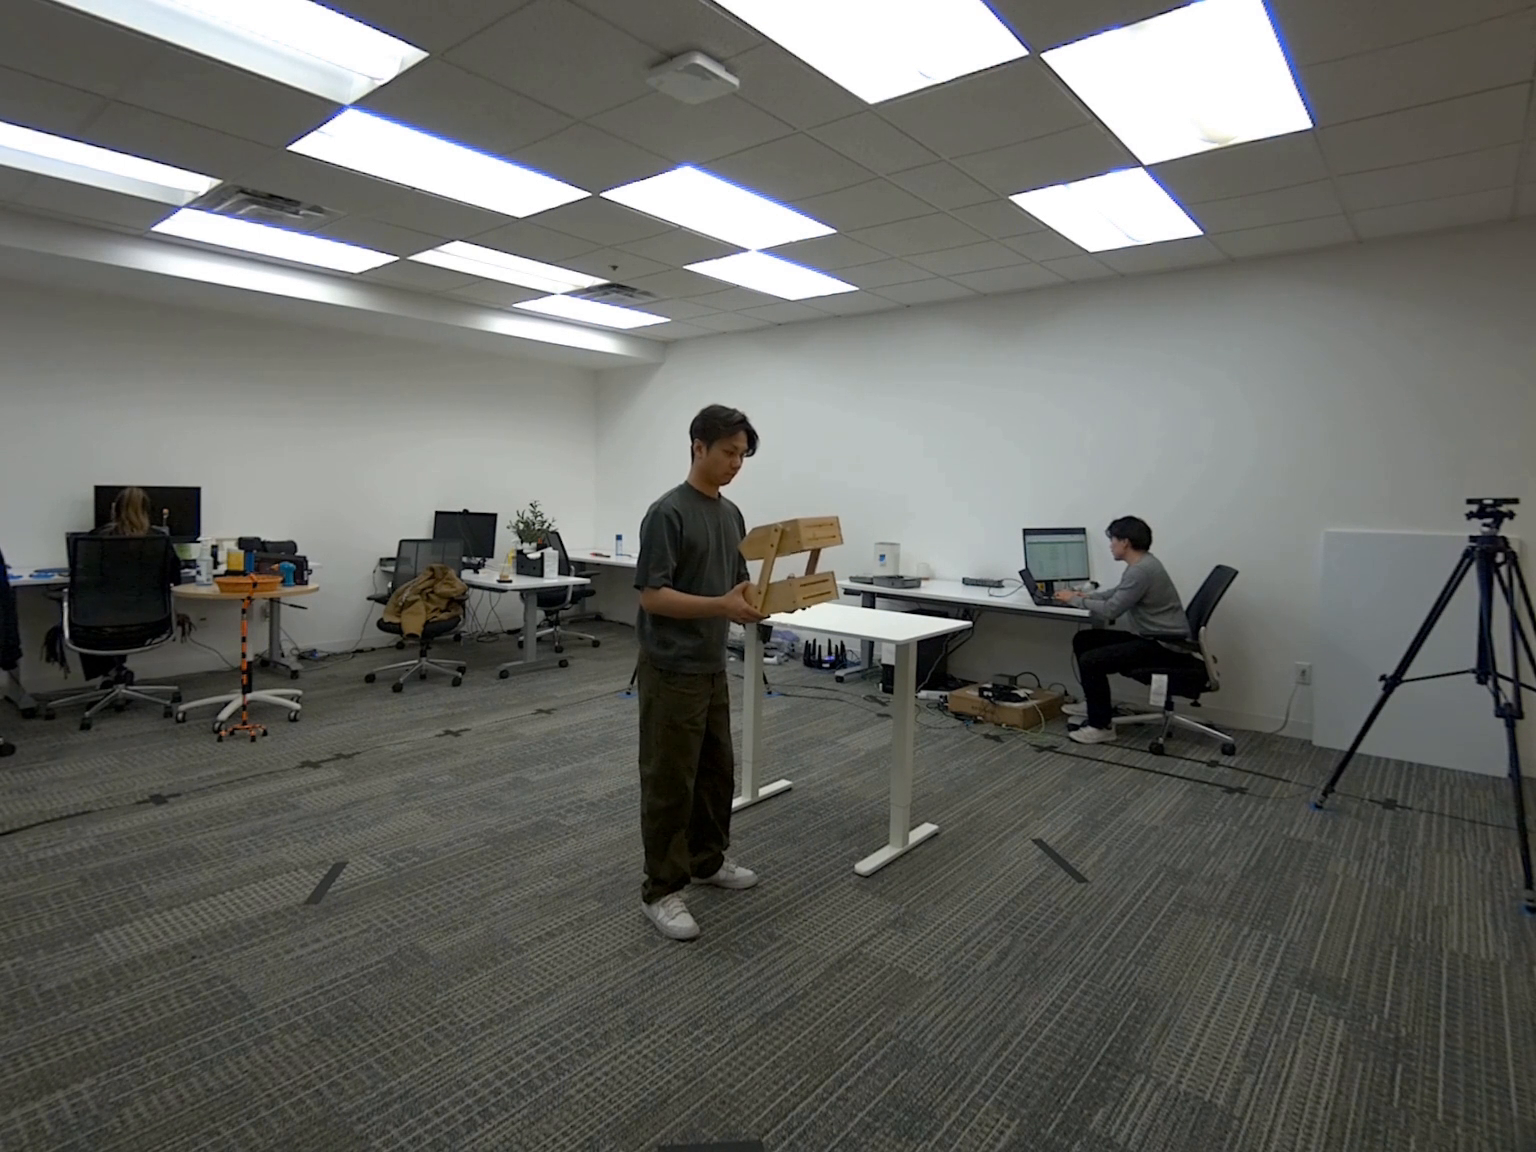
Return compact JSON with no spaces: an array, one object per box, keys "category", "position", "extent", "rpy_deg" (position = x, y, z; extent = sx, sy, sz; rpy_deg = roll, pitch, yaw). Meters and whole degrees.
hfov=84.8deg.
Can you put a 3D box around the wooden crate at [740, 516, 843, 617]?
[{"category":"wooden crate","position":[0.030,-0.028,2.636],"extent":[0.309,0.274,0.316],"rpy_deg":[-10,-1,29]}]
